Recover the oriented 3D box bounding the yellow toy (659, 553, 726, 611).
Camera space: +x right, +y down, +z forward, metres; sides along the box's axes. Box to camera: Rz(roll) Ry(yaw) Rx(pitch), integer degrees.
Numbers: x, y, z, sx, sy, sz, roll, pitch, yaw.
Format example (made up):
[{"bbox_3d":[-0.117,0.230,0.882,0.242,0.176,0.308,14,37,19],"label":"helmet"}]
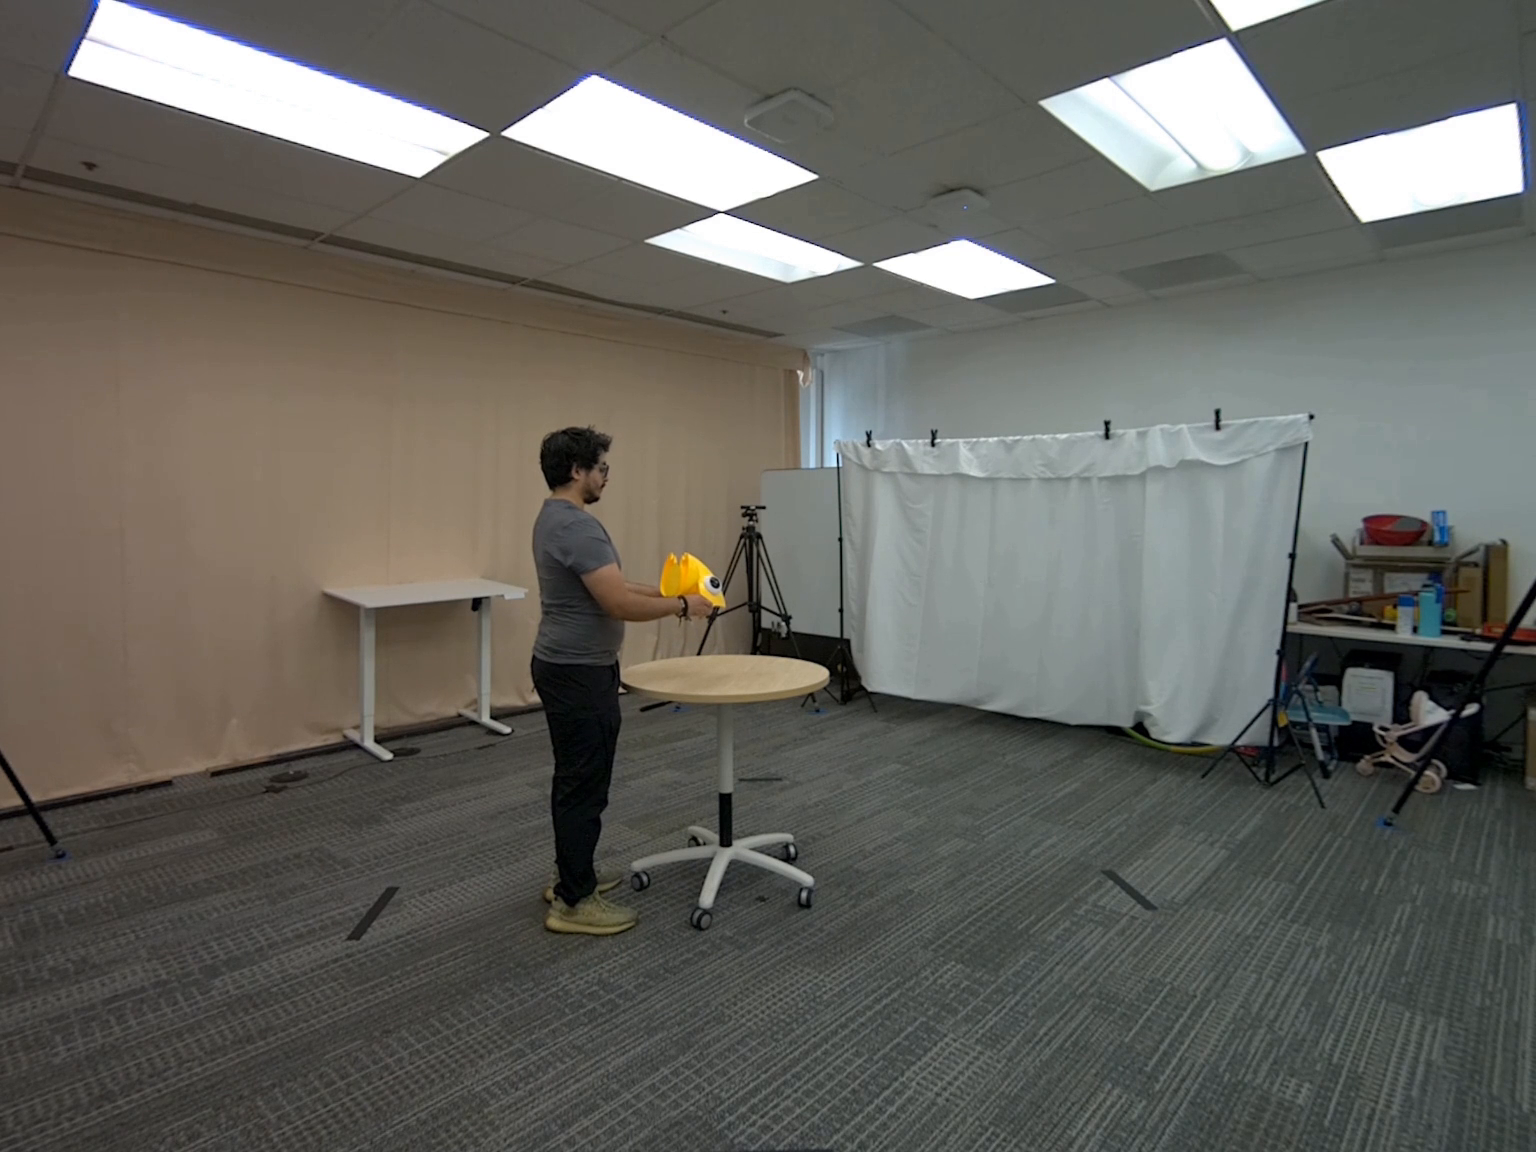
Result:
[{"bbox_3d":[-0.237,0.032,3.004,0.224,0.193,0.210,15,-7,-28],"label":"yellow toy"}]
